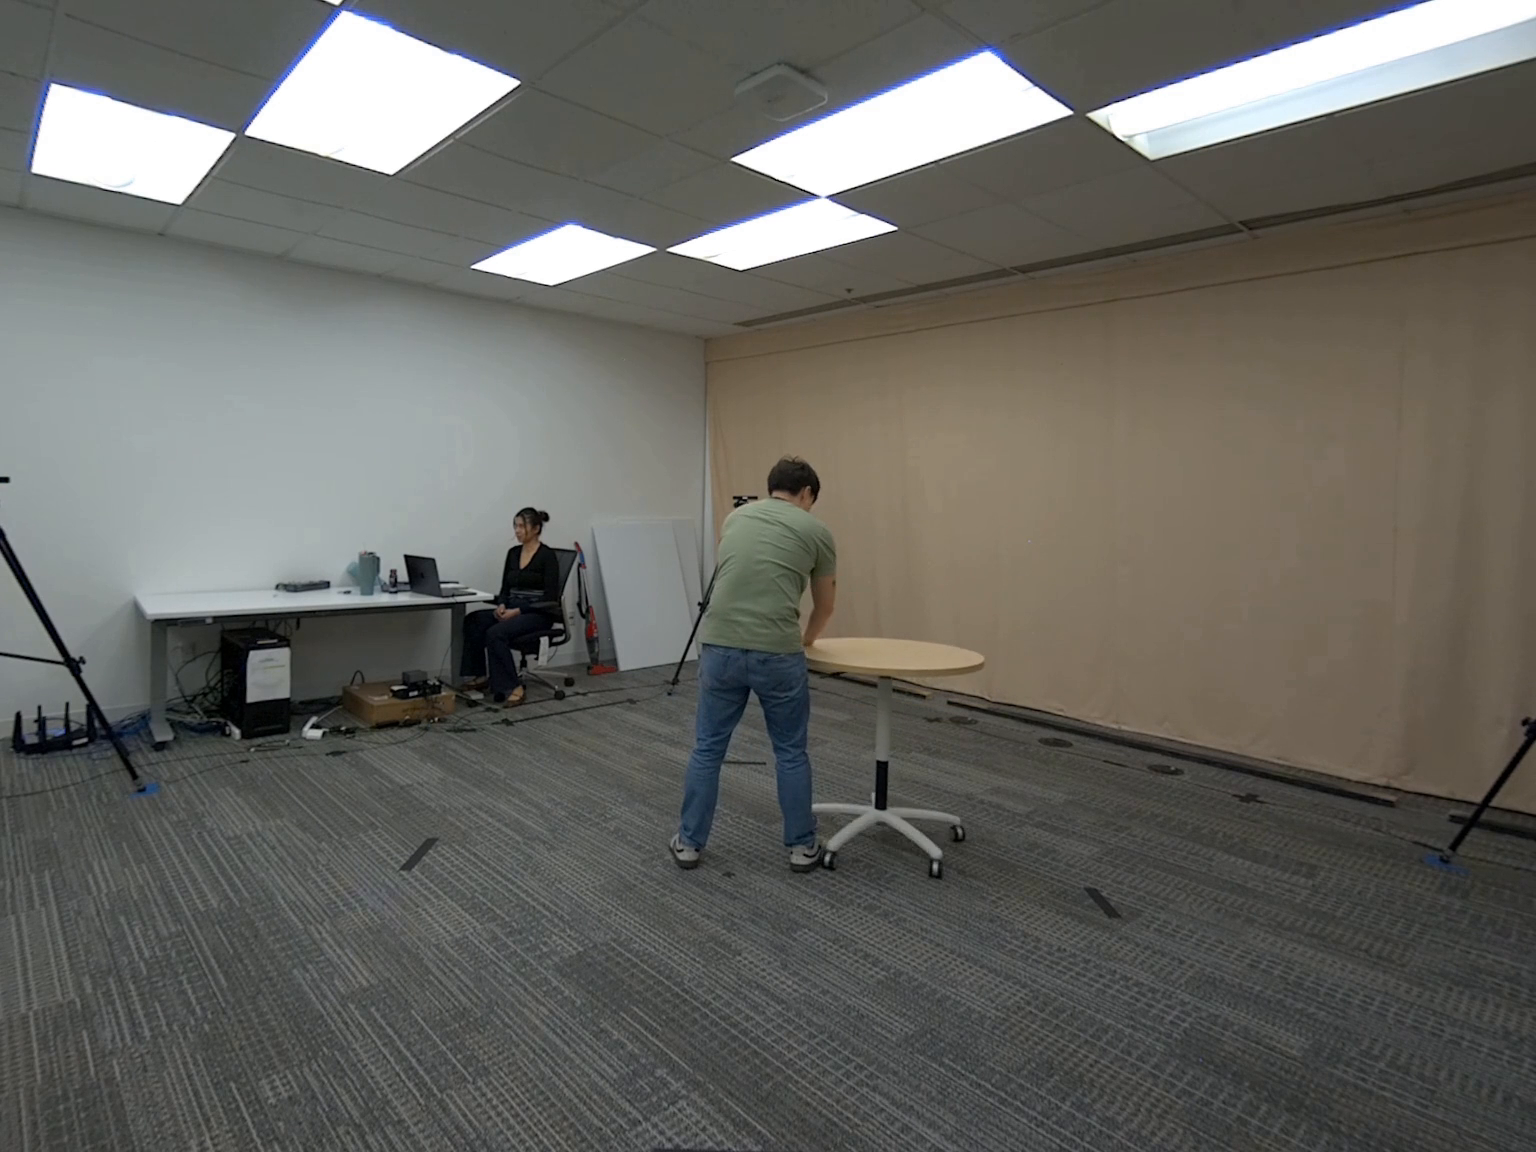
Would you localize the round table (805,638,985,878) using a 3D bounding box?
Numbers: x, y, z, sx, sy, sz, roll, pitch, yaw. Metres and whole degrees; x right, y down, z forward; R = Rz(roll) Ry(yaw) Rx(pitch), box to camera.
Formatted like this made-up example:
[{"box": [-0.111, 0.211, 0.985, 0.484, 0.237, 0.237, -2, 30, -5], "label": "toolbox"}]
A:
[{"box": [0.447, 0.699, 3.416, 0.763, 0.793, 0.766, 2, 3, -1], "label": "round table"}]
